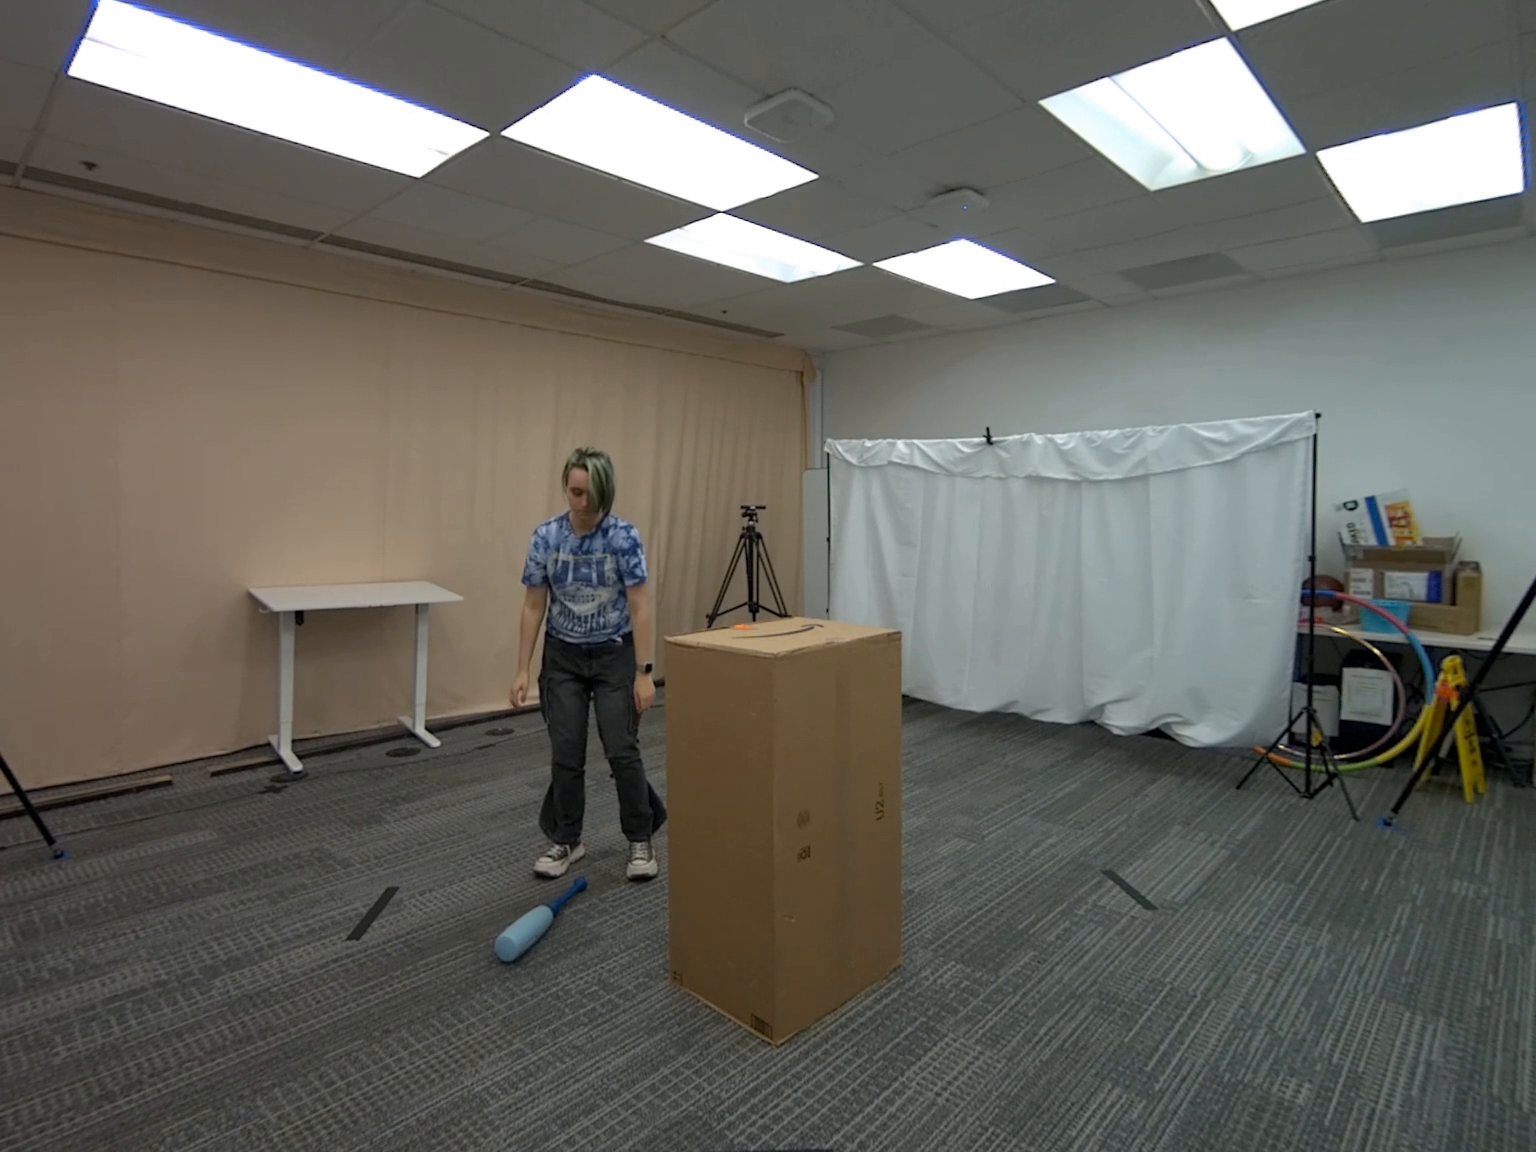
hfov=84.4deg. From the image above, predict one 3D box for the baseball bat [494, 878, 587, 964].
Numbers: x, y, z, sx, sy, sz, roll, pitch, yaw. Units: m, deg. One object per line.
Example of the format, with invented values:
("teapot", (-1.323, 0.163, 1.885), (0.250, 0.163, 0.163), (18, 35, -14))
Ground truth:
("baseball bat", (-0.739, 1.136, 2.801), (0.090, 0.089, 0.535), (1, 1, 13))
